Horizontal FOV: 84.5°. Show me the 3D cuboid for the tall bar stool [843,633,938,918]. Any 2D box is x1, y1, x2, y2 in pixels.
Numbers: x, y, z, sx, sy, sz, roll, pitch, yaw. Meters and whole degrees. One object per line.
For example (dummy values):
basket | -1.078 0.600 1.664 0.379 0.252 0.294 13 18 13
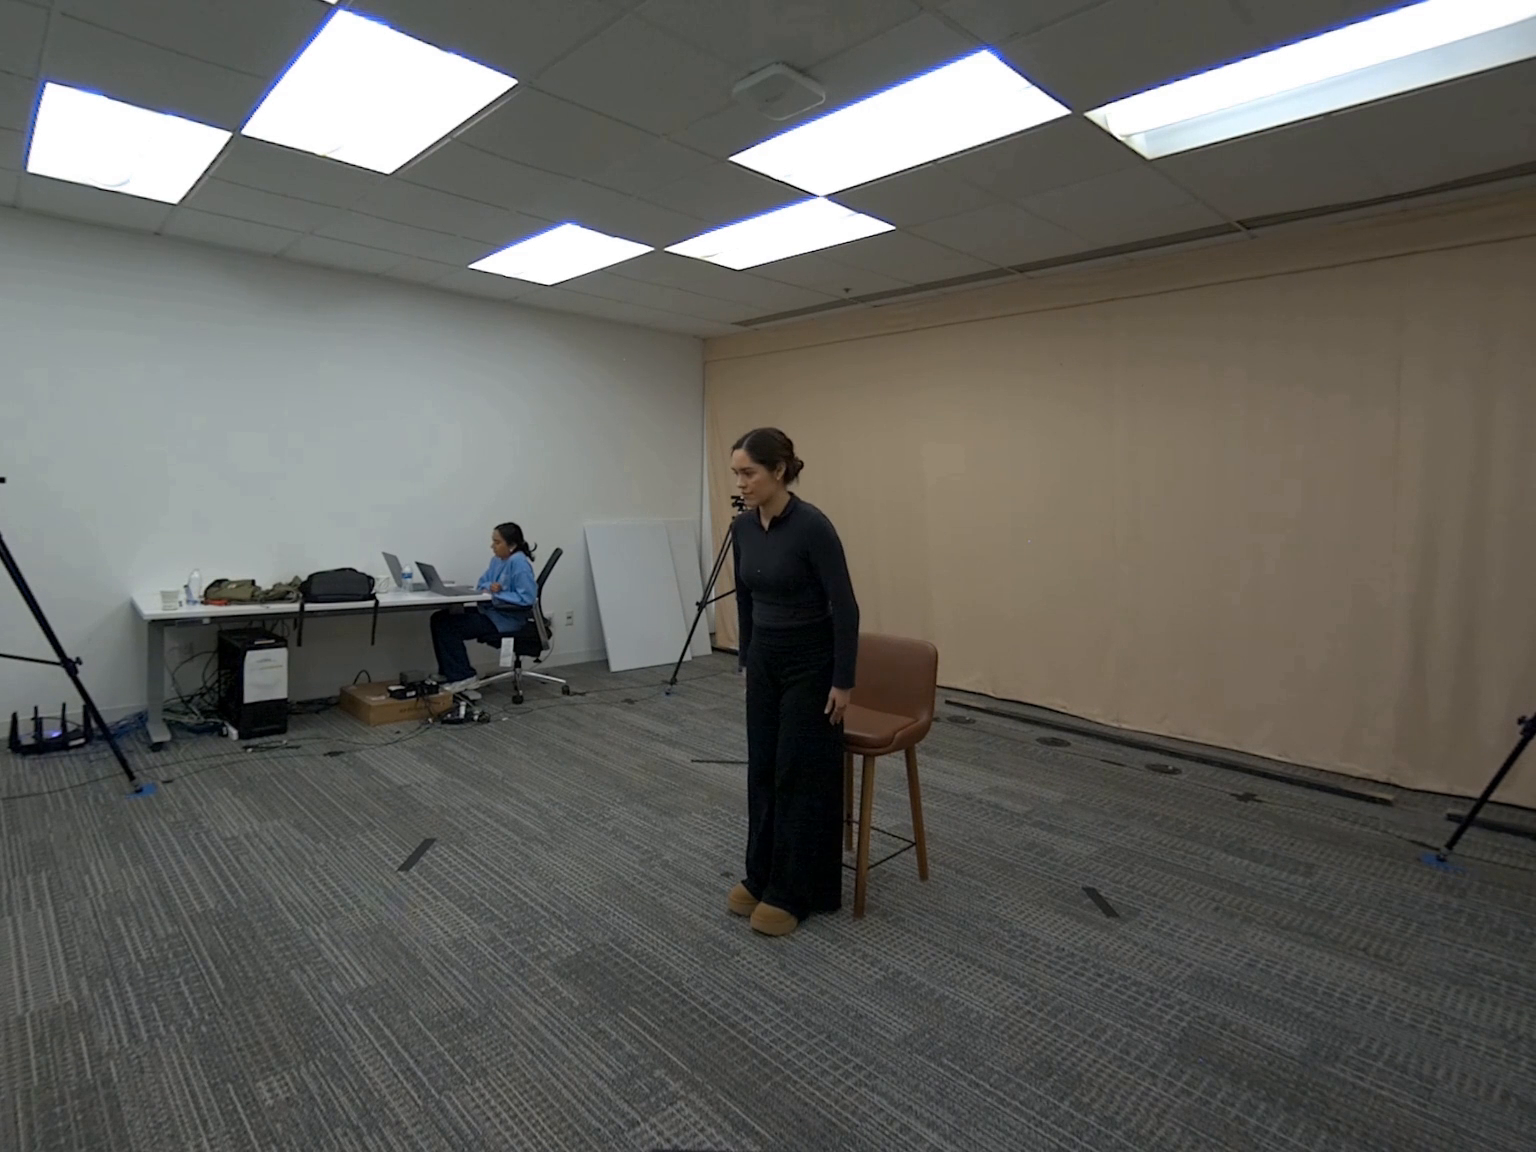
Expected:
tall bar stool | 0.323 0.681 3.066 0.468 0.888 0.456 5 3 44
